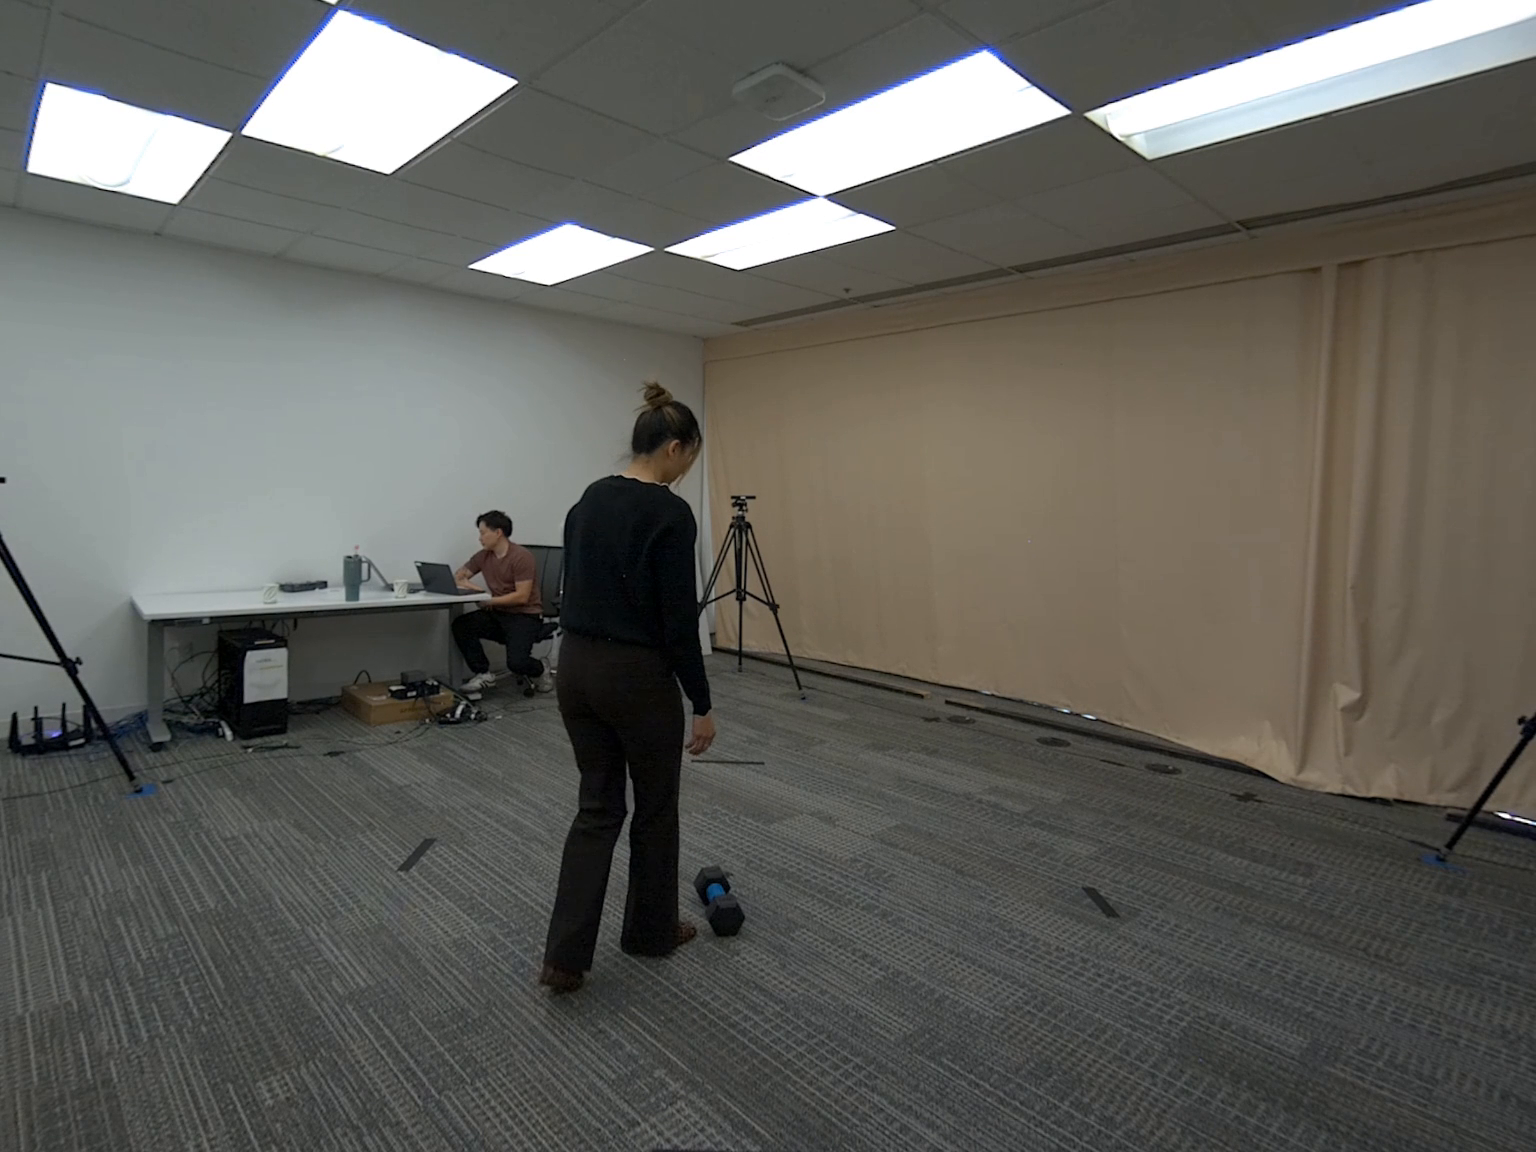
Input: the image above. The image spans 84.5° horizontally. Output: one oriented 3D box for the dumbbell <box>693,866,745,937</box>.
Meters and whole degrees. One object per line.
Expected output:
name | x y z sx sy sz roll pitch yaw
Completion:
dumbbell | -0.172 1.079 2.795 0.107 0.123 0.297 31 -3 -15
